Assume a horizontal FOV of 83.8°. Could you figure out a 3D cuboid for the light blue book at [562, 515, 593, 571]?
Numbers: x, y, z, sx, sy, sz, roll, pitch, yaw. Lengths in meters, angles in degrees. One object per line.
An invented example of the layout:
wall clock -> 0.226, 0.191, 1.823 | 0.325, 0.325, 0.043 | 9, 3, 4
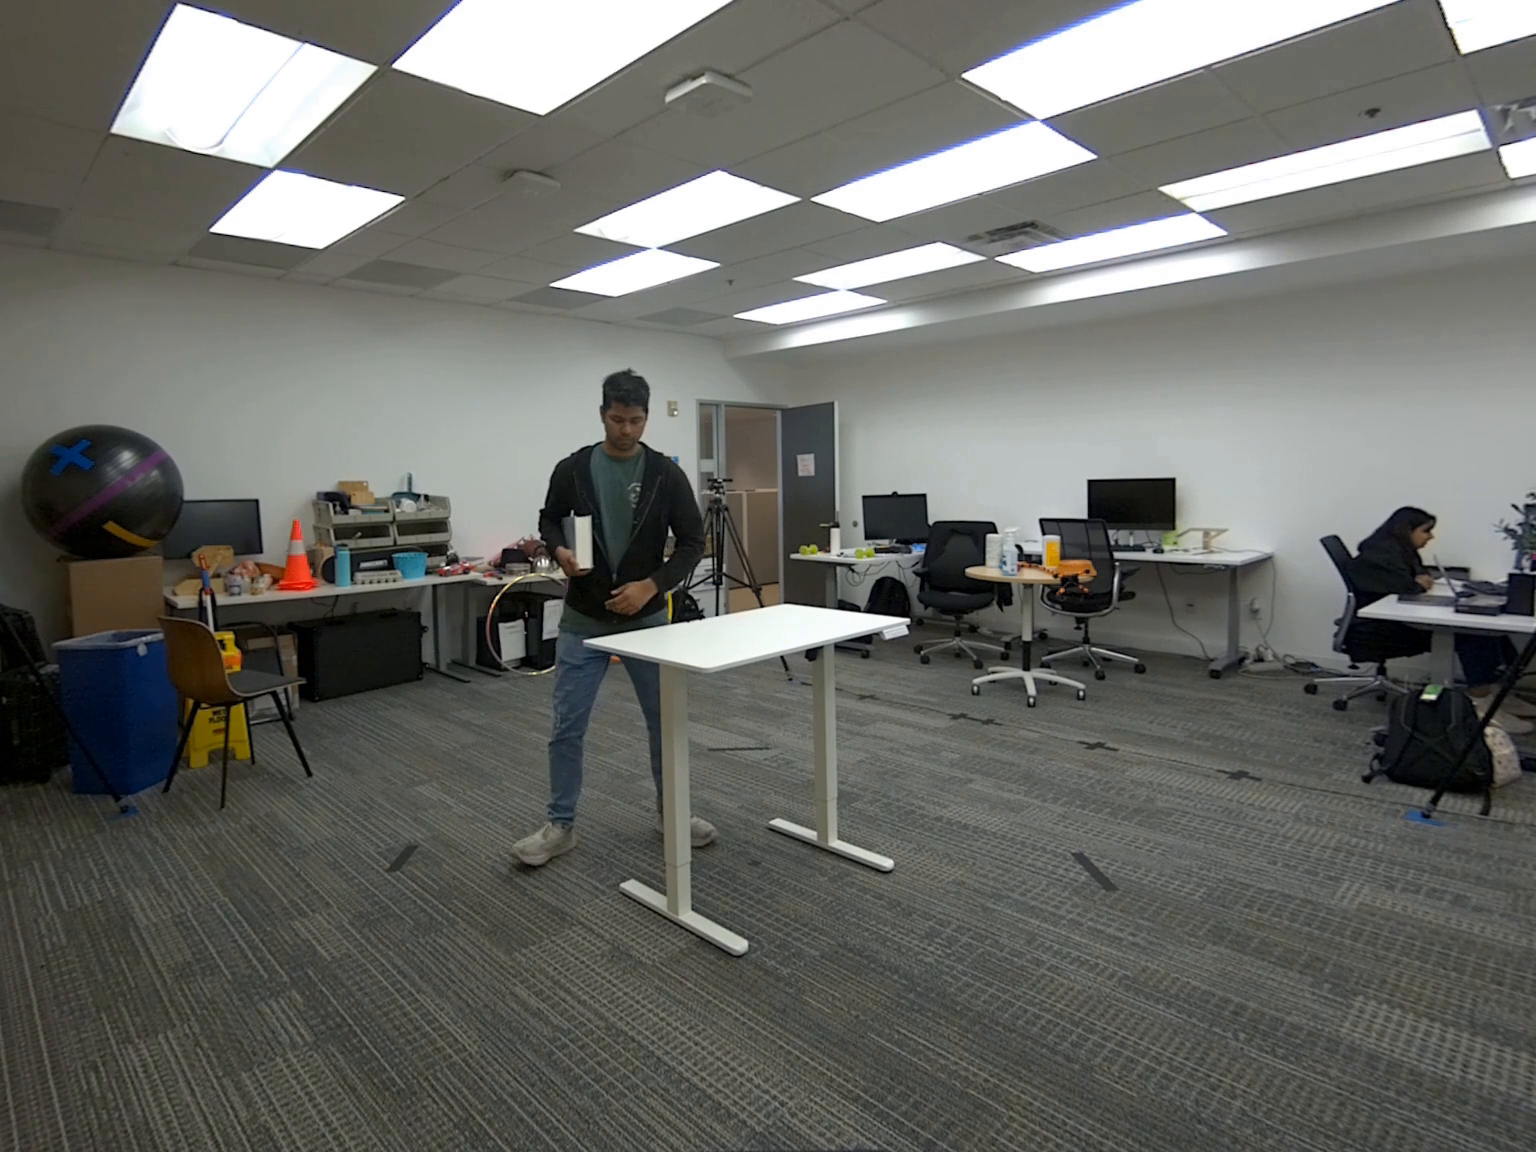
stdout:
light blue book -> -0.708, -0.127, 3.139 | 0.058, 0.191, 0.265 | -2, 2, -19
